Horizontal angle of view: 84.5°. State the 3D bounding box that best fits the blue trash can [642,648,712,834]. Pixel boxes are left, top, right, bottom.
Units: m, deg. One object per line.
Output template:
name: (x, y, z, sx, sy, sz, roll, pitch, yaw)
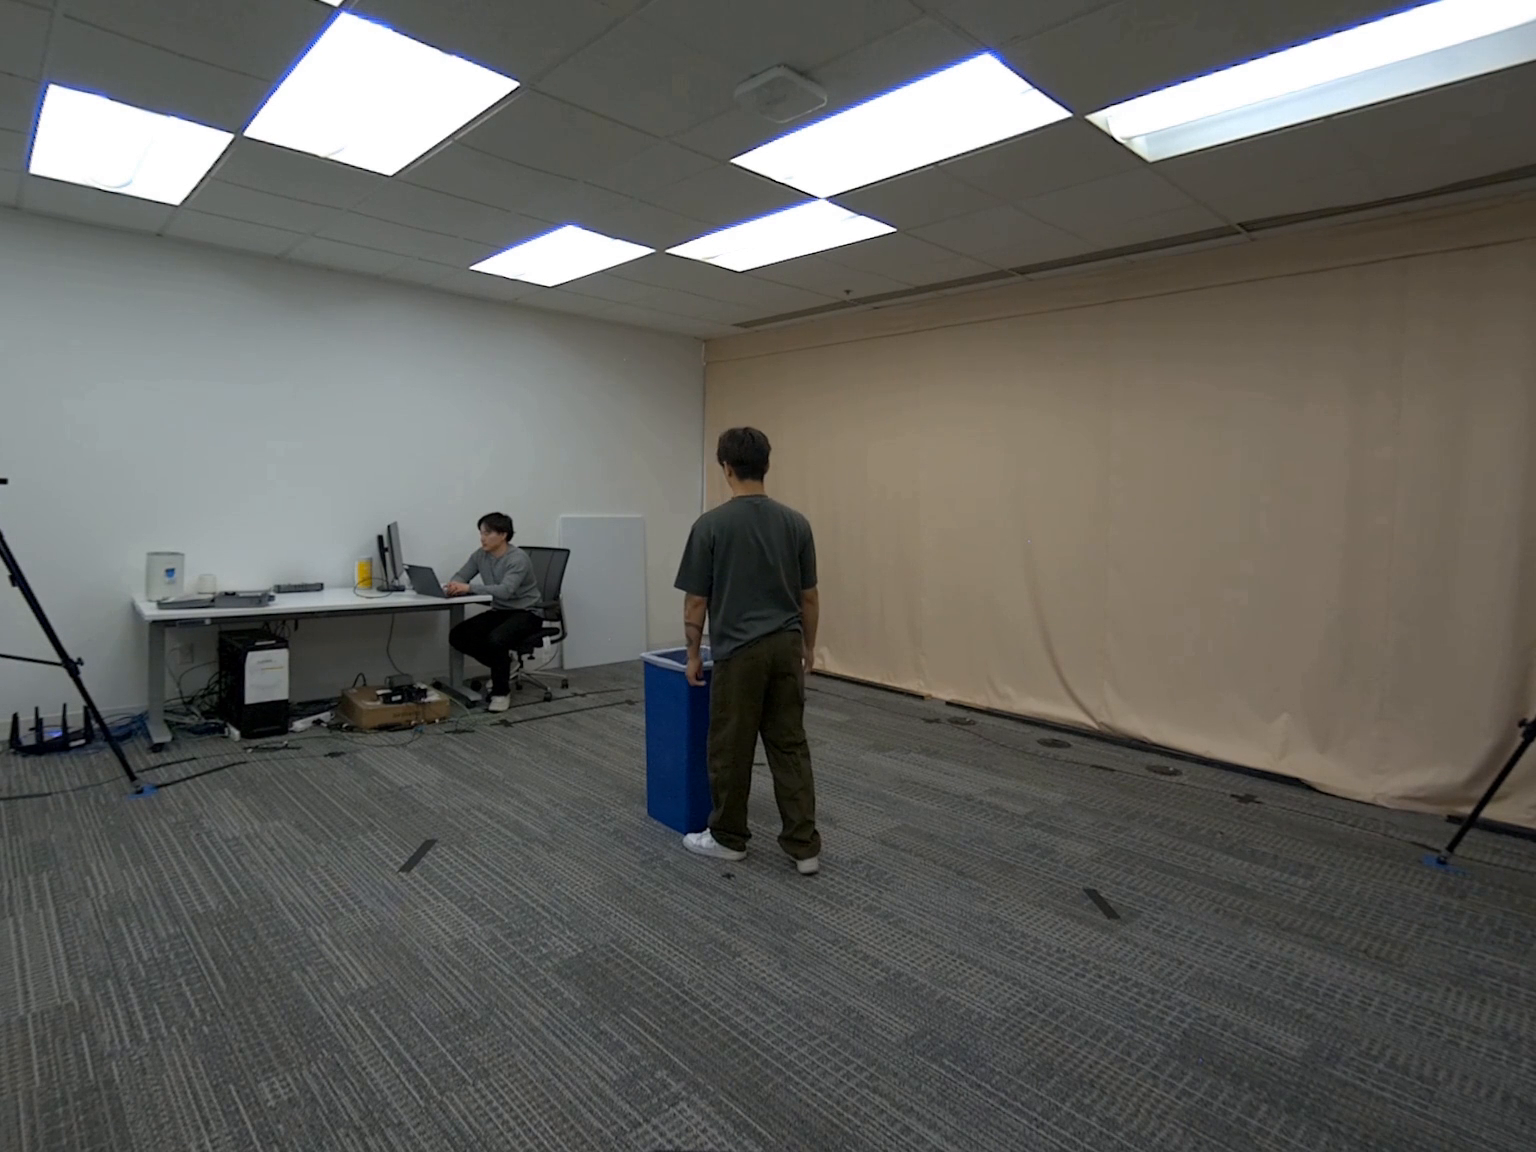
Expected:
blue trash can: (-0.327, 0.696, 3.650, 0.365, 0.712, 0.387, -1, 4, -41)
